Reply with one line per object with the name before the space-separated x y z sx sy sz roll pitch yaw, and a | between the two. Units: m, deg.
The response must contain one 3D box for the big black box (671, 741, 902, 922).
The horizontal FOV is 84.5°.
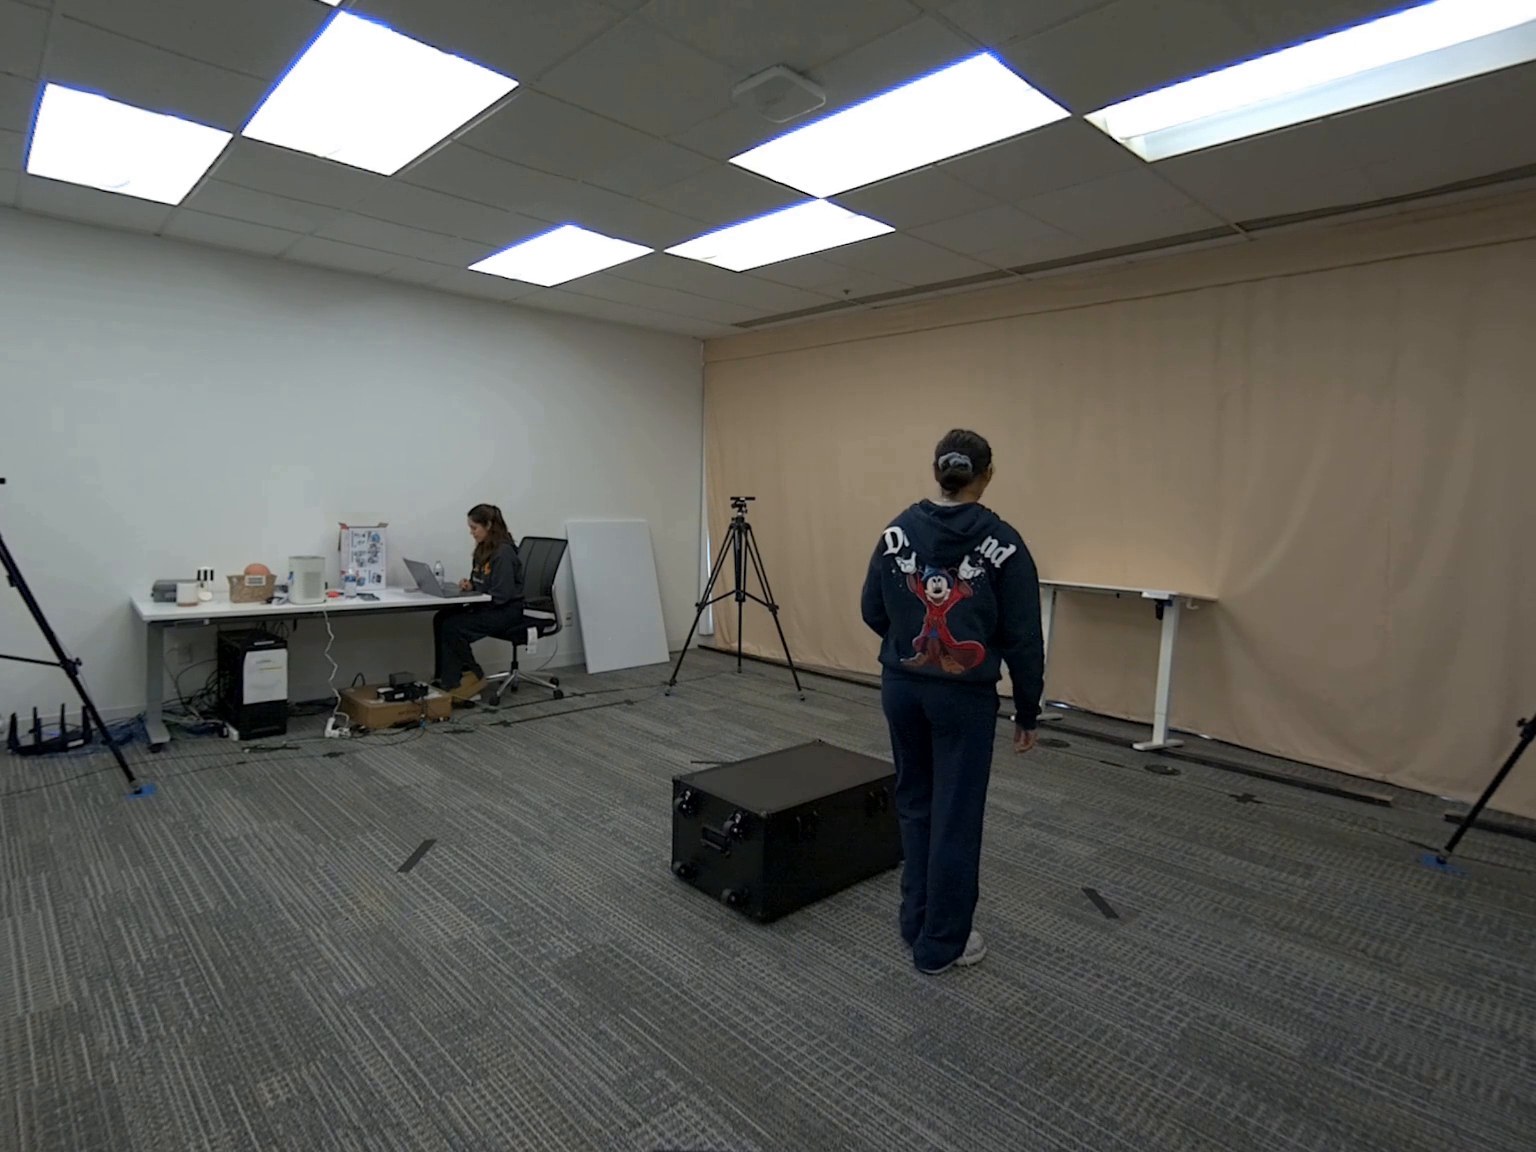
big black box | 0.065 0.919 3.129 0.841 0.395 0.535 -2 6 -44
